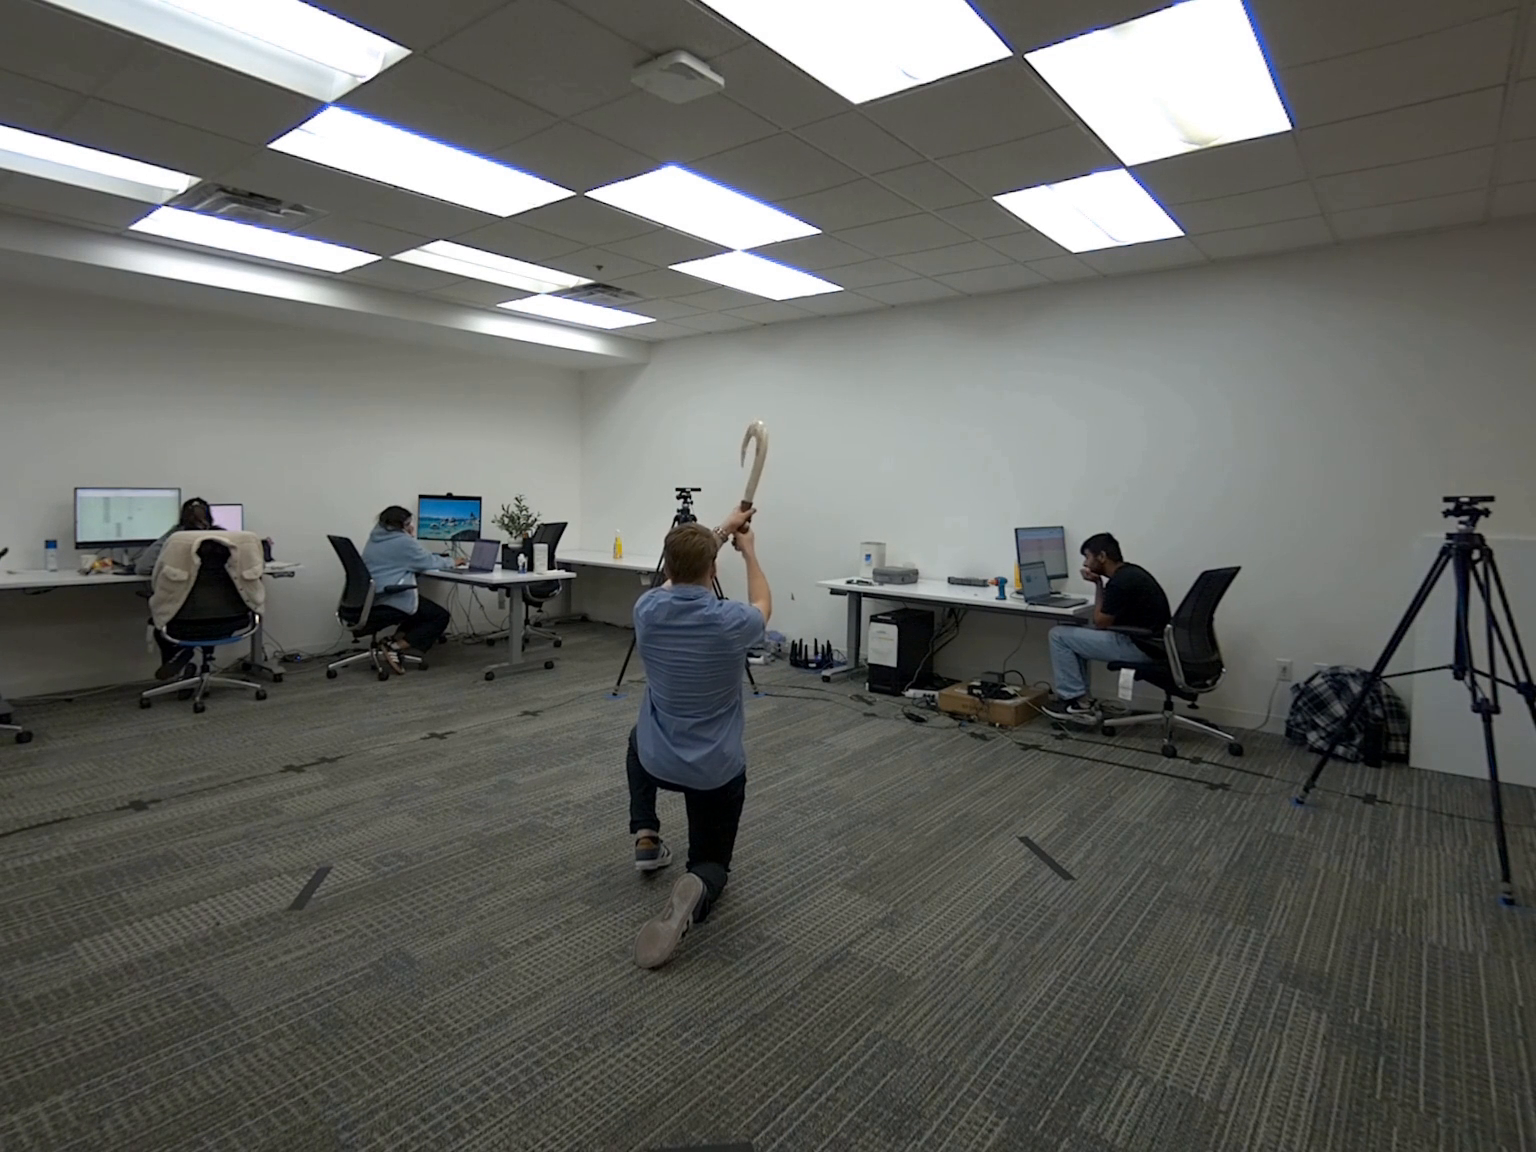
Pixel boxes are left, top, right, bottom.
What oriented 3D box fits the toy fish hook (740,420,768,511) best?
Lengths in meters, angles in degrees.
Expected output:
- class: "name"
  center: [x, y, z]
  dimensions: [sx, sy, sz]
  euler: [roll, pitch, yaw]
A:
- class: "toy fish hook"
  center: [-0.094, -0.325, 3.321]
  dimensions: [0.047, 0.503, 0.231]
  euler: [9, 10, -20]
